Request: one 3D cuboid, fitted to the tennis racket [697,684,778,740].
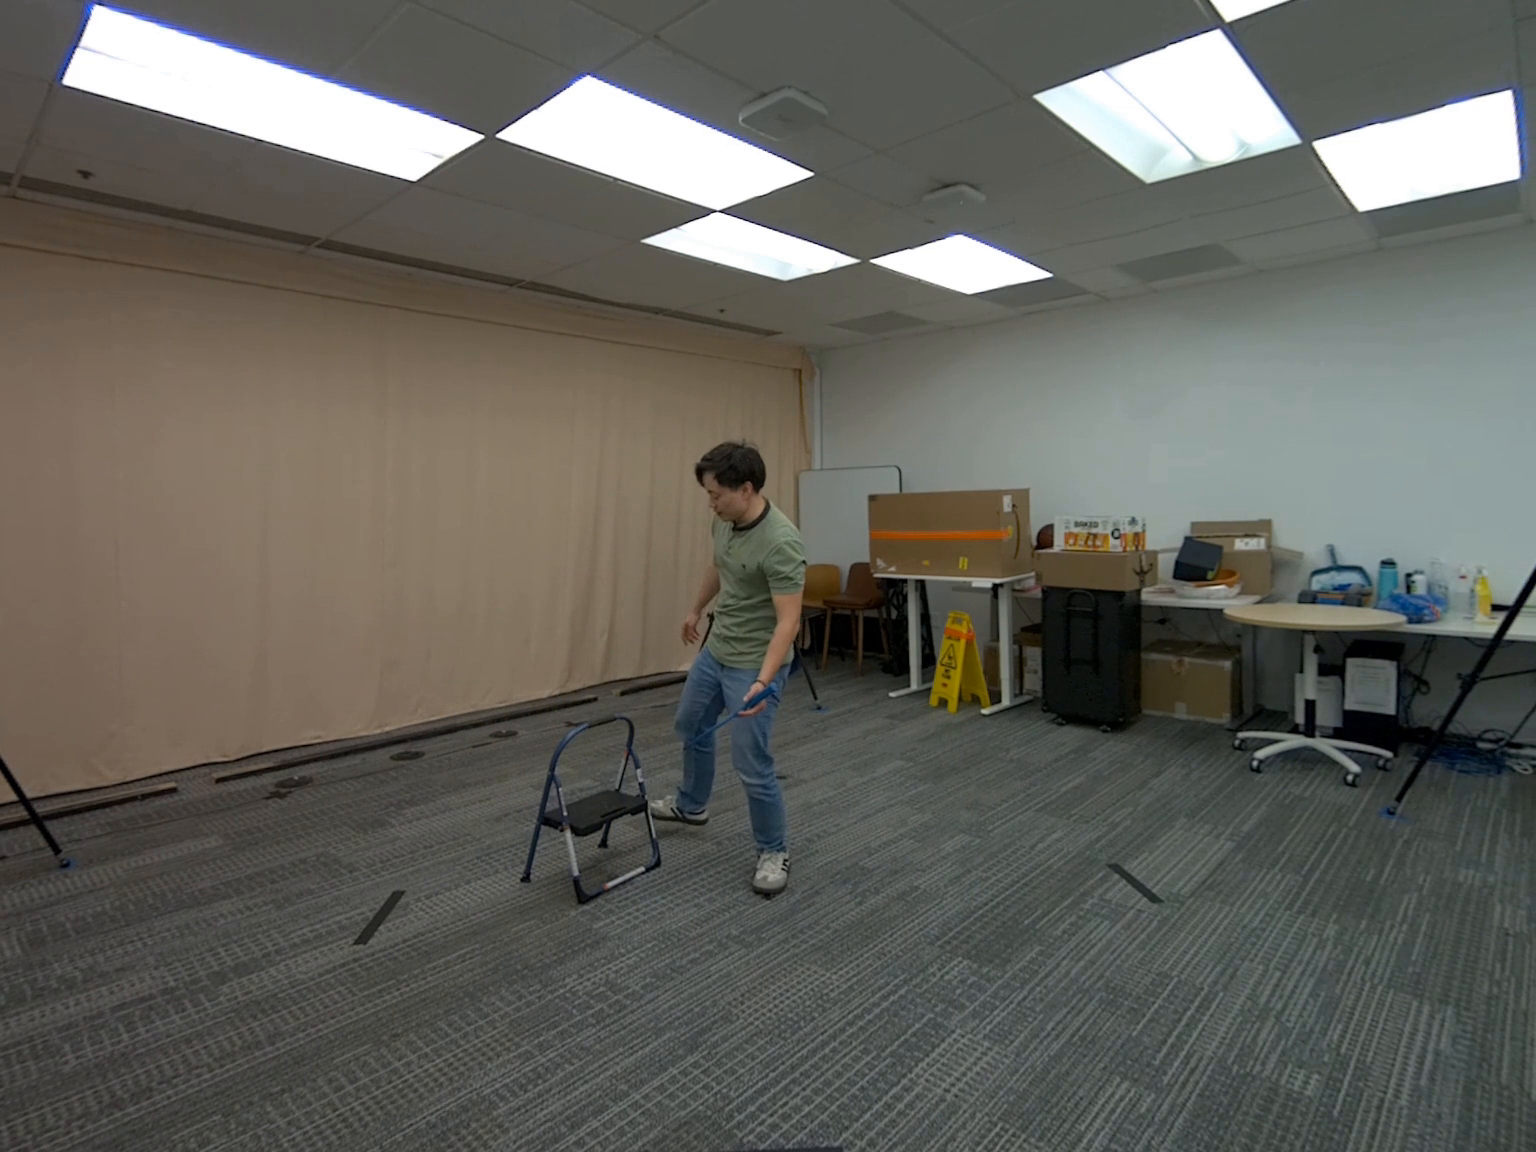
[{"bbox_3d":[-0.150,0.473,2.795,0.437,0.032,0.209,-41,-9,34],"label":"tennis racket"}]
